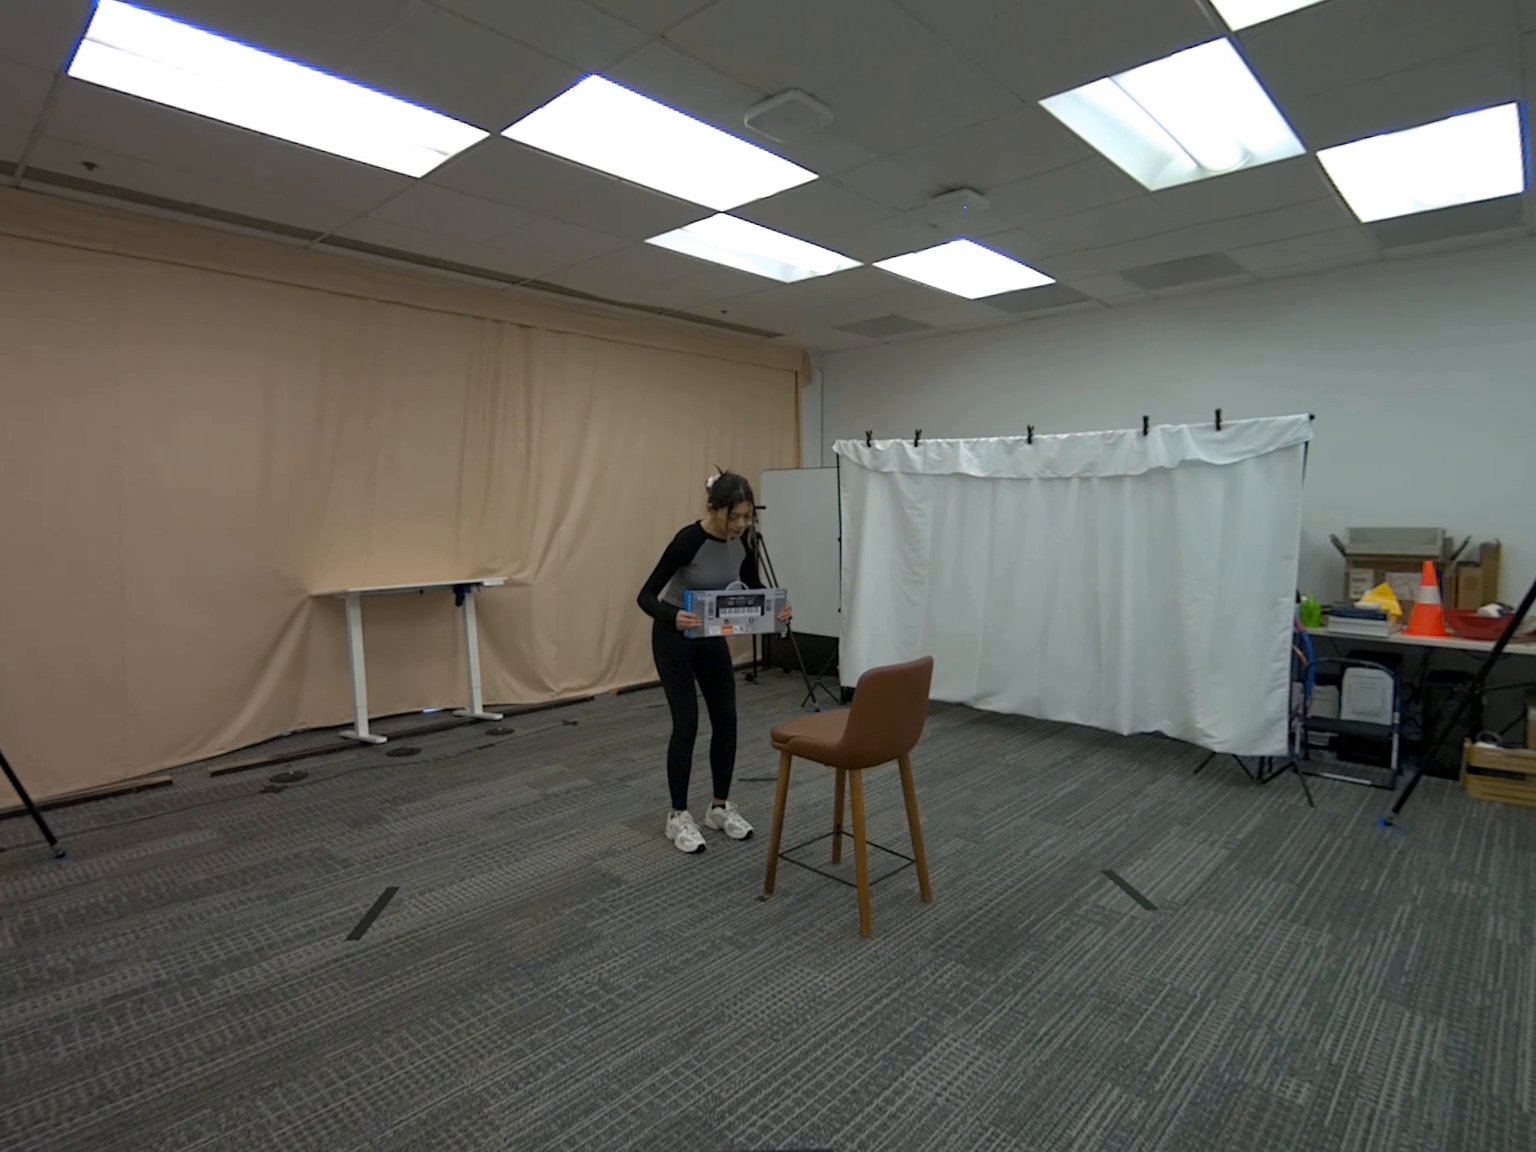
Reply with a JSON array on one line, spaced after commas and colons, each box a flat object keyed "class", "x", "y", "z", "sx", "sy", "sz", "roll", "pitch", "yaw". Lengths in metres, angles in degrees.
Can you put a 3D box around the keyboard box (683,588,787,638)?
[{"class": "keyboard box", "x": -0.118, "y": 0.143, "z": 3.271, "sx": 0.424, "sy": 0.176, "sz": 0.061, "roll": 0, "pitch": 1, "yaw": -32}]
